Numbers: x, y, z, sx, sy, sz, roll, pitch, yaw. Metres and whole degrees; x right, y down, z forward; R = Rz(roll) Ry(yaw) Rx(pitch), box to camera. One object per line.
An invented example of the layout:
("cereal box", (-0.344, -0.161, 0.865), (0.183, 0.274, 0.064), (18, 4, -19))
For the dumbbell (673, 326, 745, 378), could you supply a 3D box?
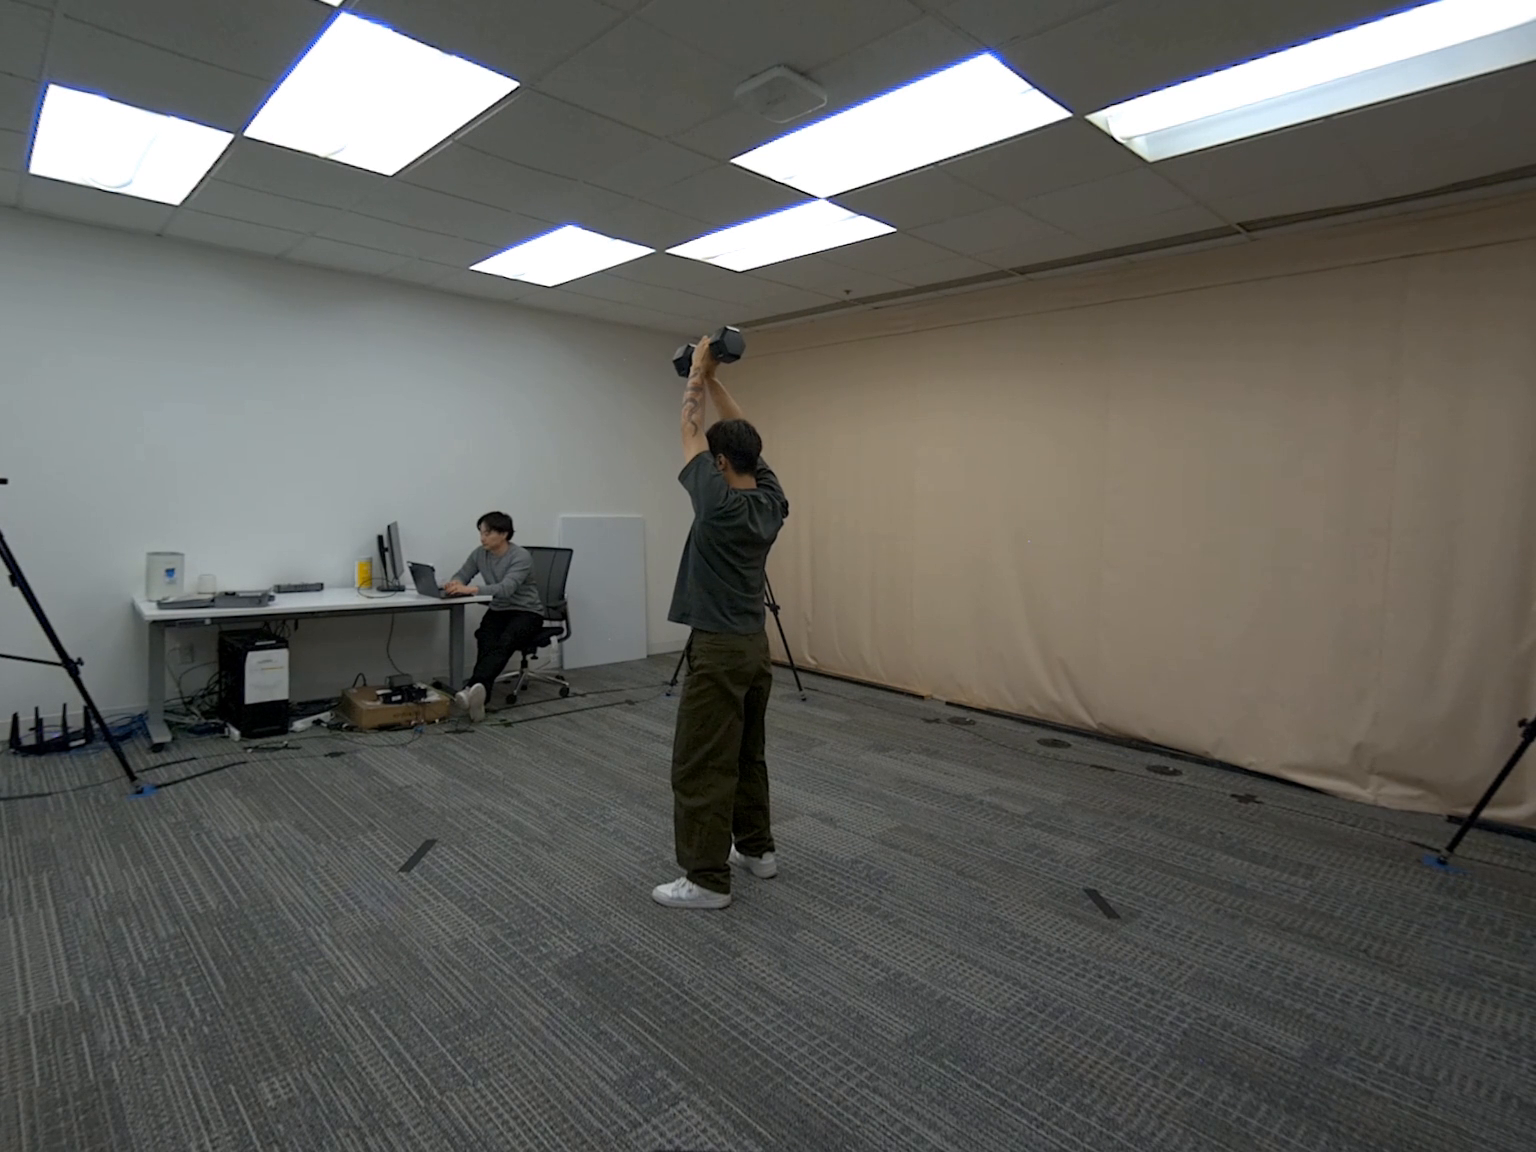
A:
("dumbbell", (-0.221, -0.801, 3.000), (0.299, 0.121, 0.108), (-8, 22, 49))
